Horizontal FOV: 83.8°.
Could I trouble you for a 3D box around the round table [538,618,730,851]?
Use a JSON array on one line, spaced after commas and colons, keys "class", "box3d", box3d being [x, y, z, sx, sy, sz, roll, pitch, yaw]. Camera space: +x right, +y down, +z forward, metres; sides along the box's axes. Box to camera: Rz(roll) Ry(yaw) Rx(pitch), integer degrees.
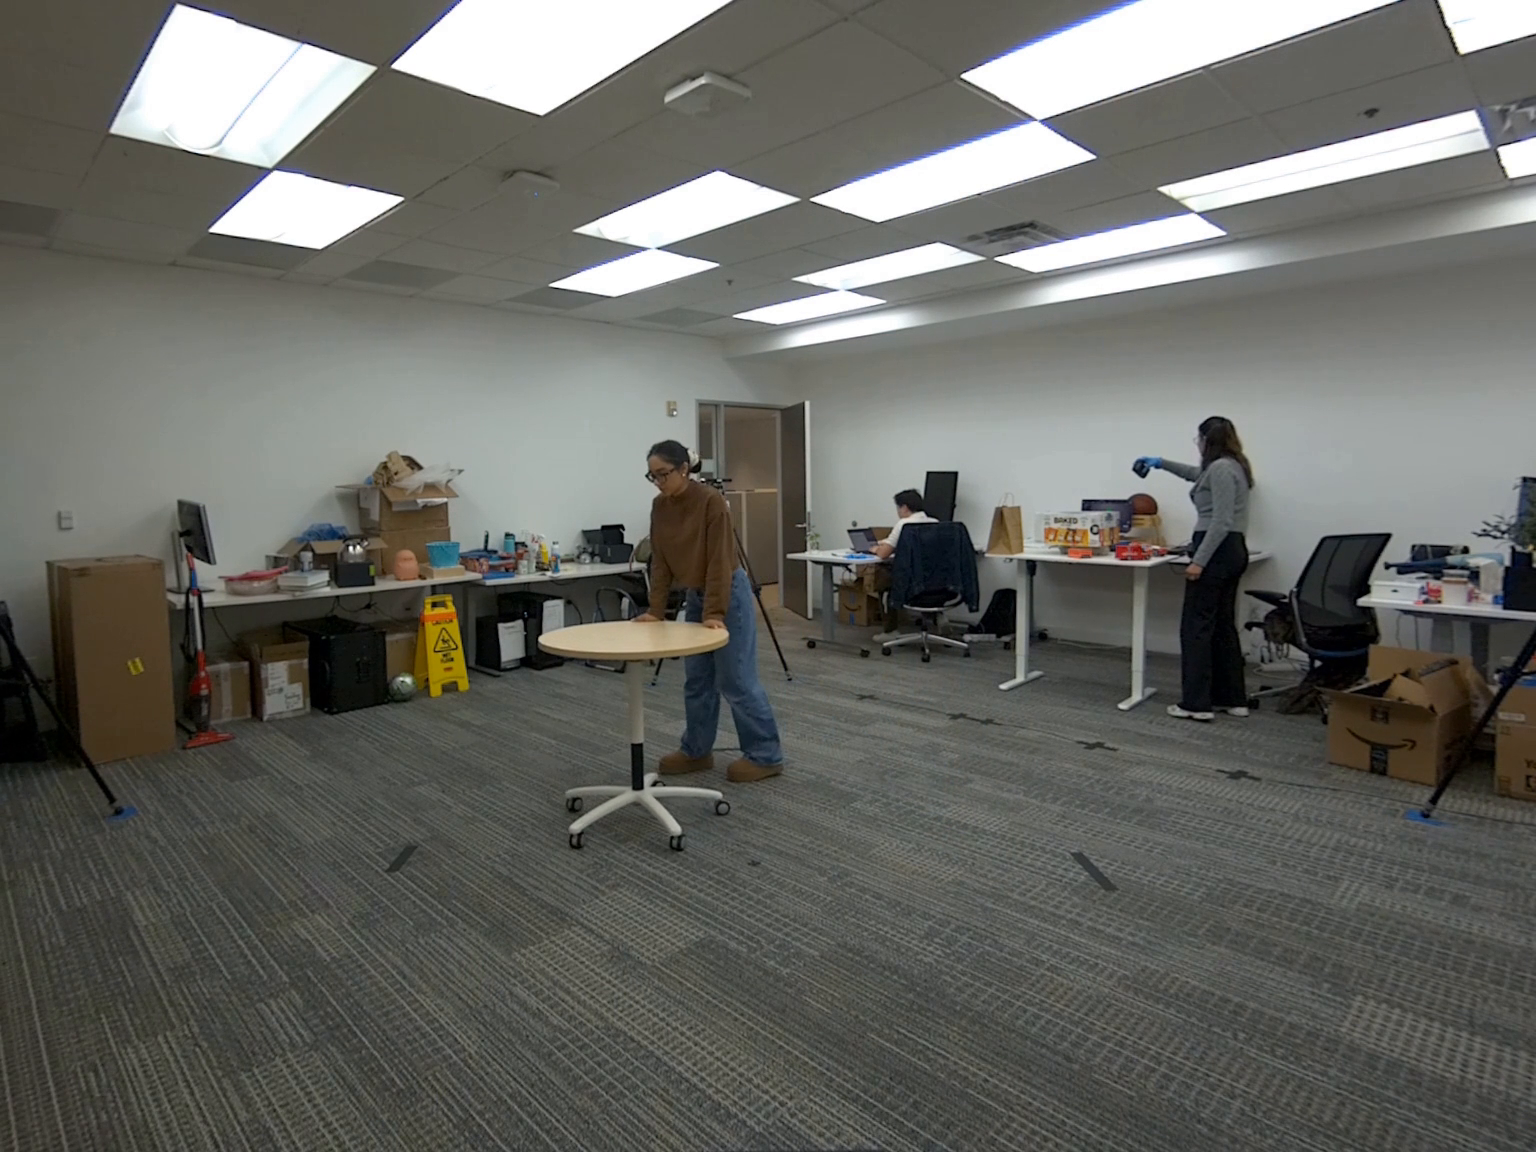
[{"class": "round table", "box3d": [-0.535, 0.628, 3.486, 0.763, 0.791, 0.767, -1, 4, -2]}]
